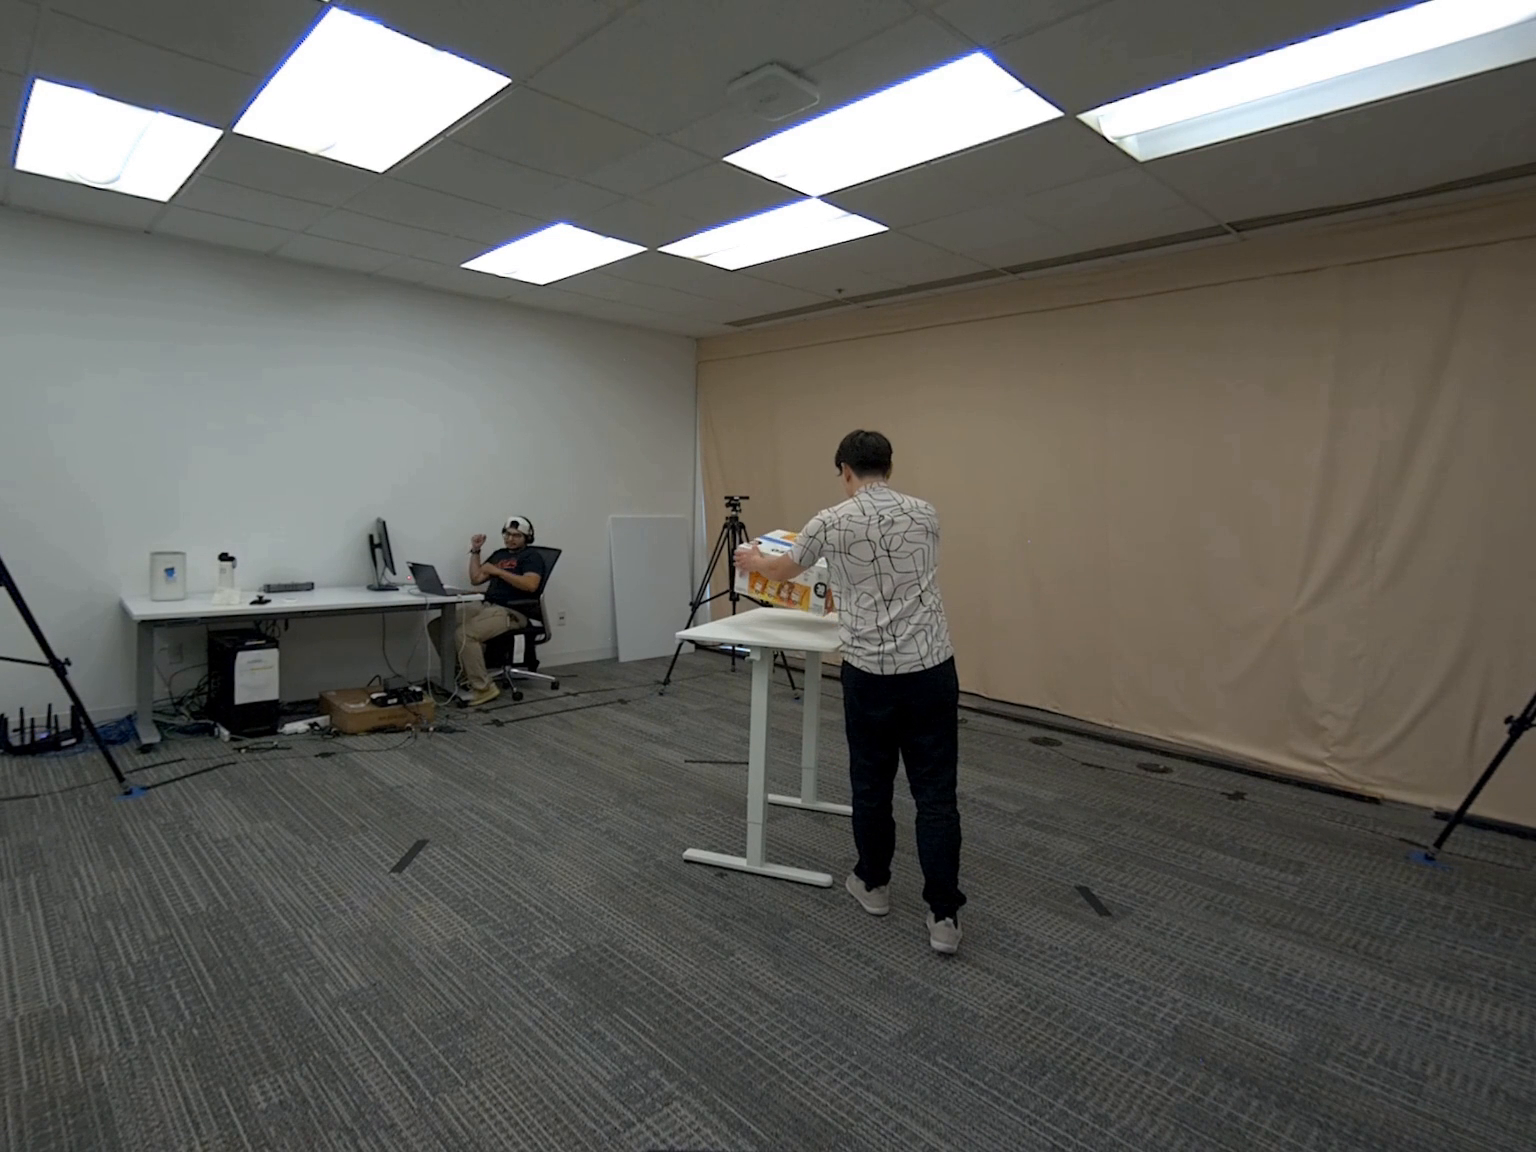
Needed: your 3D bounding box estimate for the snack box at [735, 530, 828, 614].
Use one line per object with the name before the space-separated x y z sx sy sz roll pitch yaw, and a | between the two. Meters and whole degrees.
snack box | 0.124 -0.023 3.454 0.415 0.203 0.336 14 20 27
